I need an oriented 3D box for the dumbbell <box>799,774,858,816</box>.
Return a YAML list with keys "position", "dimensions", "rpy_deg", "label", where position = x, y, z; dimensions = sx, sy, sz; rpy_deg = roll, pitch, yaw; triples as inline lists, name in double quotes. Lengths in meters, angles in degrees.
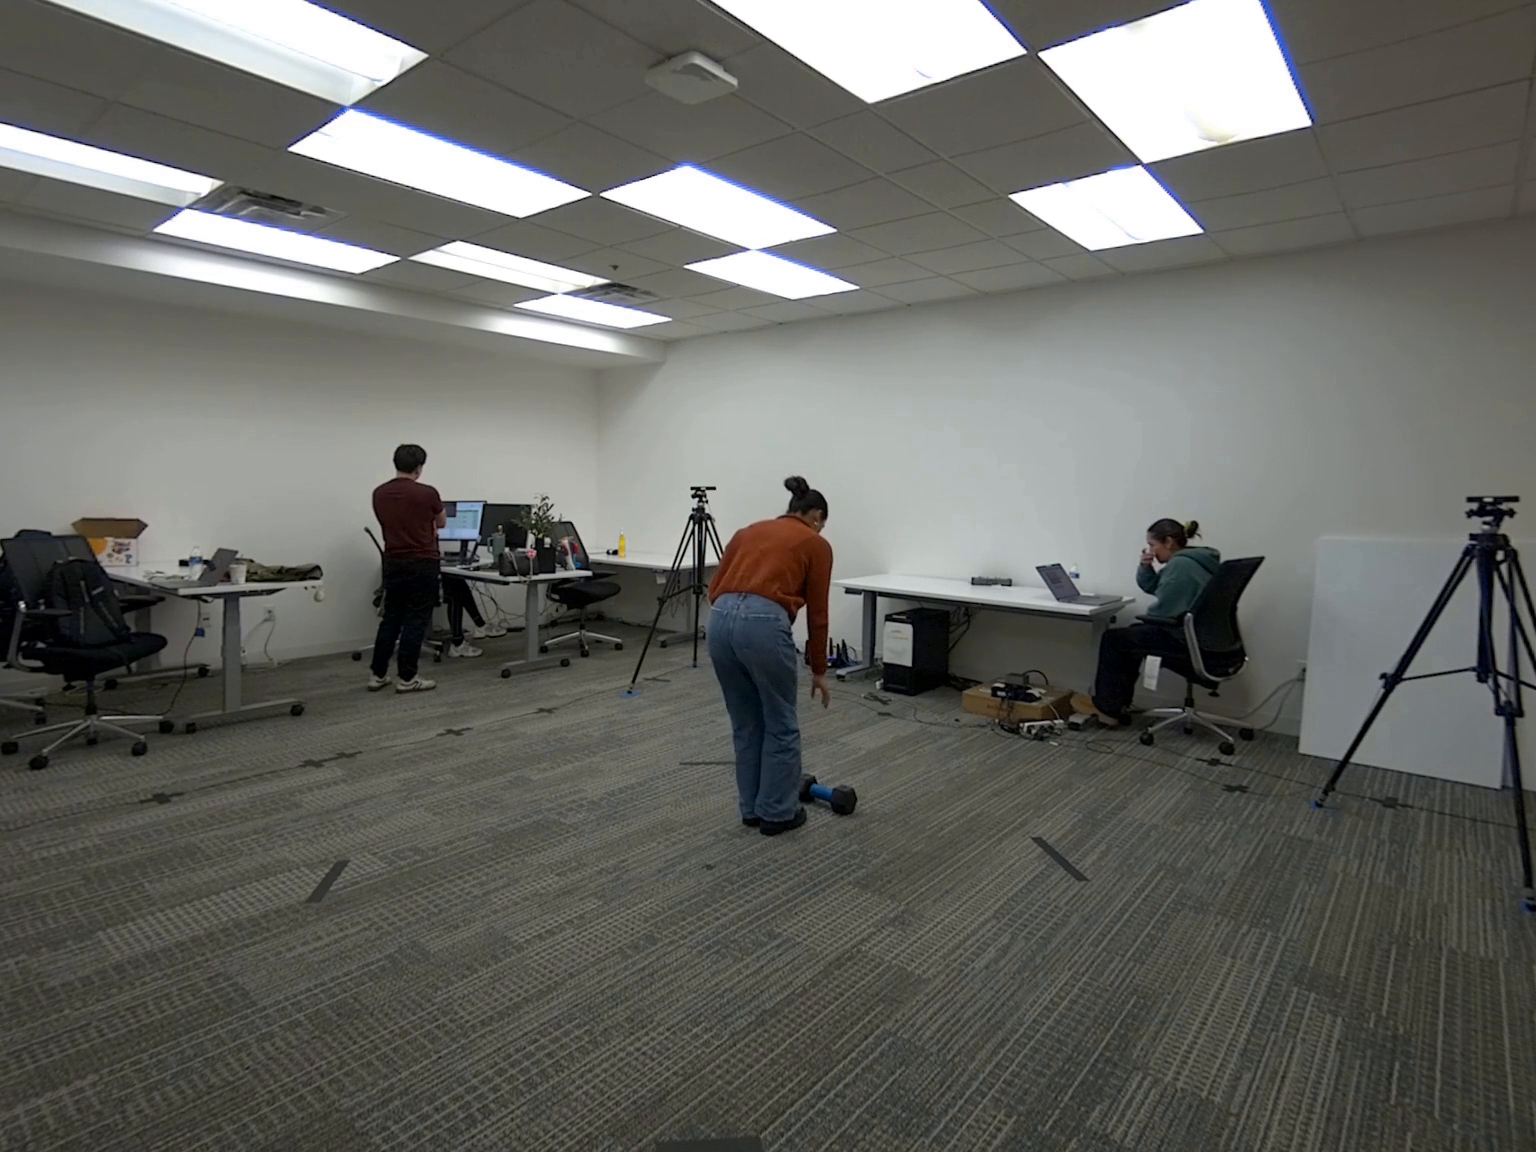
- position: [0.240, 0.957, 3.755]
  dimensions: [0.304, 0.119, 0.108]
  rpy_deg: [6, 37, 43]
  label: "dumbbell"
